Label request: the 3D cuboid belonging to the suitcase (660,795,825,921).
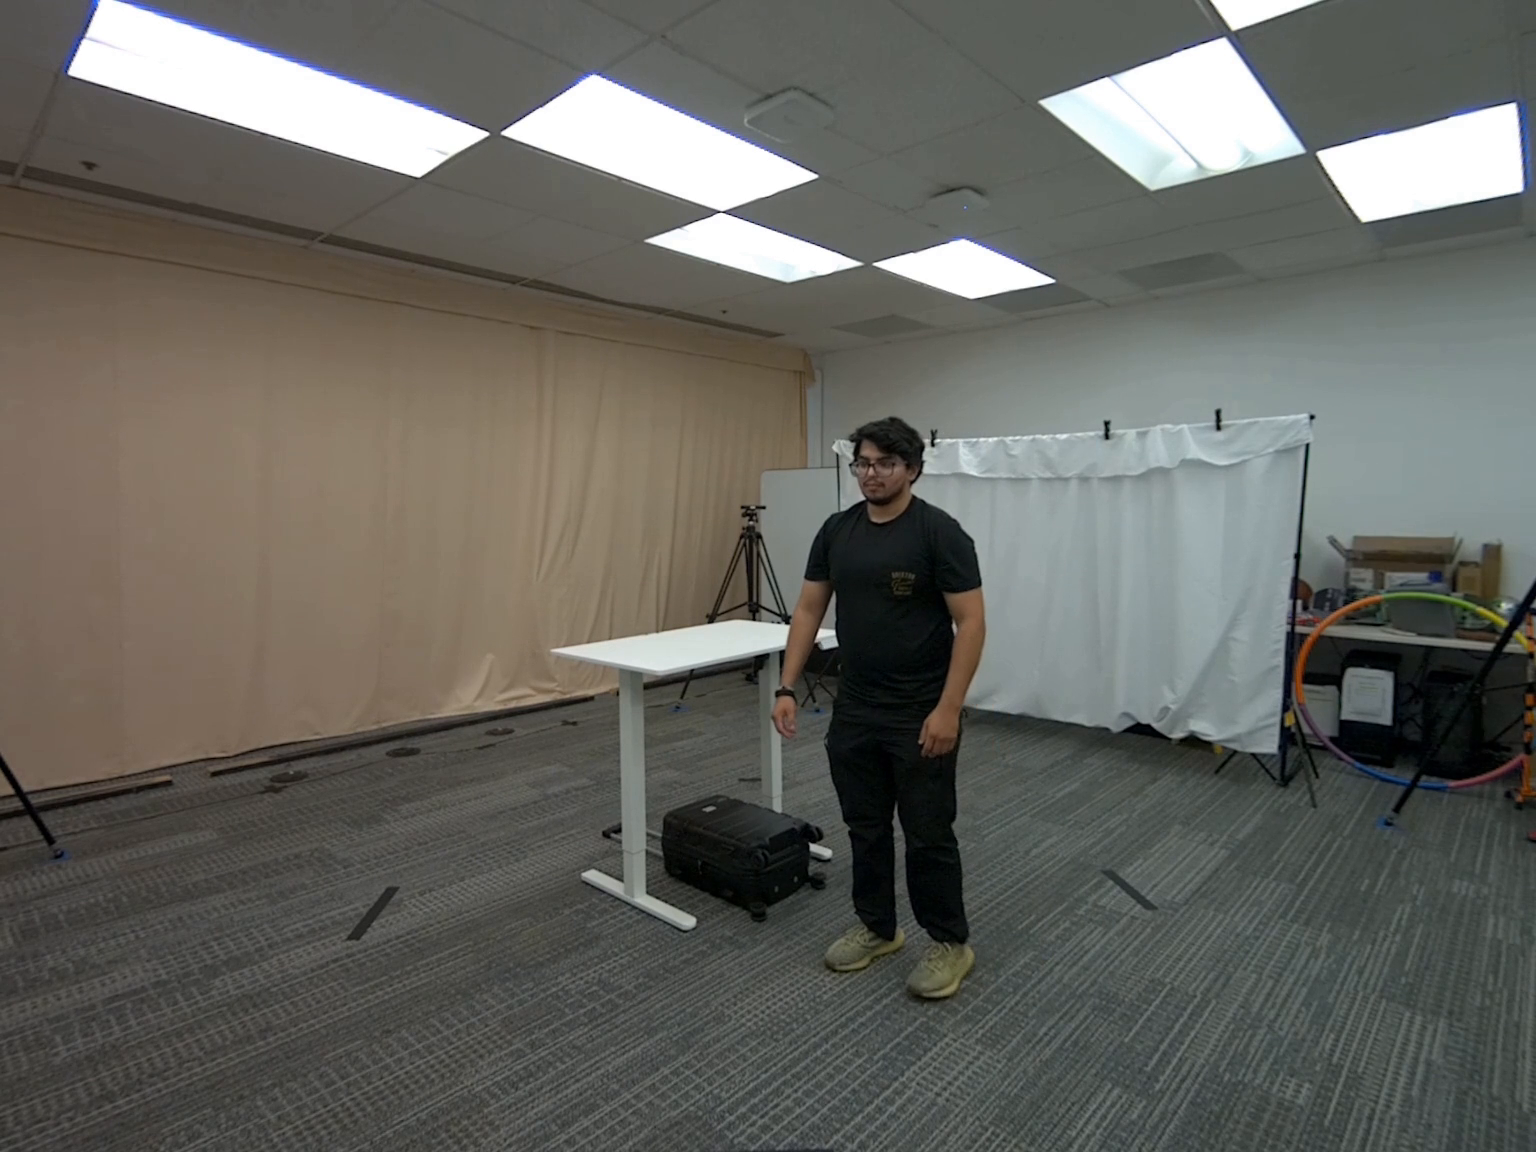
[{"bbox_3d":[-0.272,0.997,3.262,1.012,0.256,0.372,5,8,42],"label":"suitcase"}]
